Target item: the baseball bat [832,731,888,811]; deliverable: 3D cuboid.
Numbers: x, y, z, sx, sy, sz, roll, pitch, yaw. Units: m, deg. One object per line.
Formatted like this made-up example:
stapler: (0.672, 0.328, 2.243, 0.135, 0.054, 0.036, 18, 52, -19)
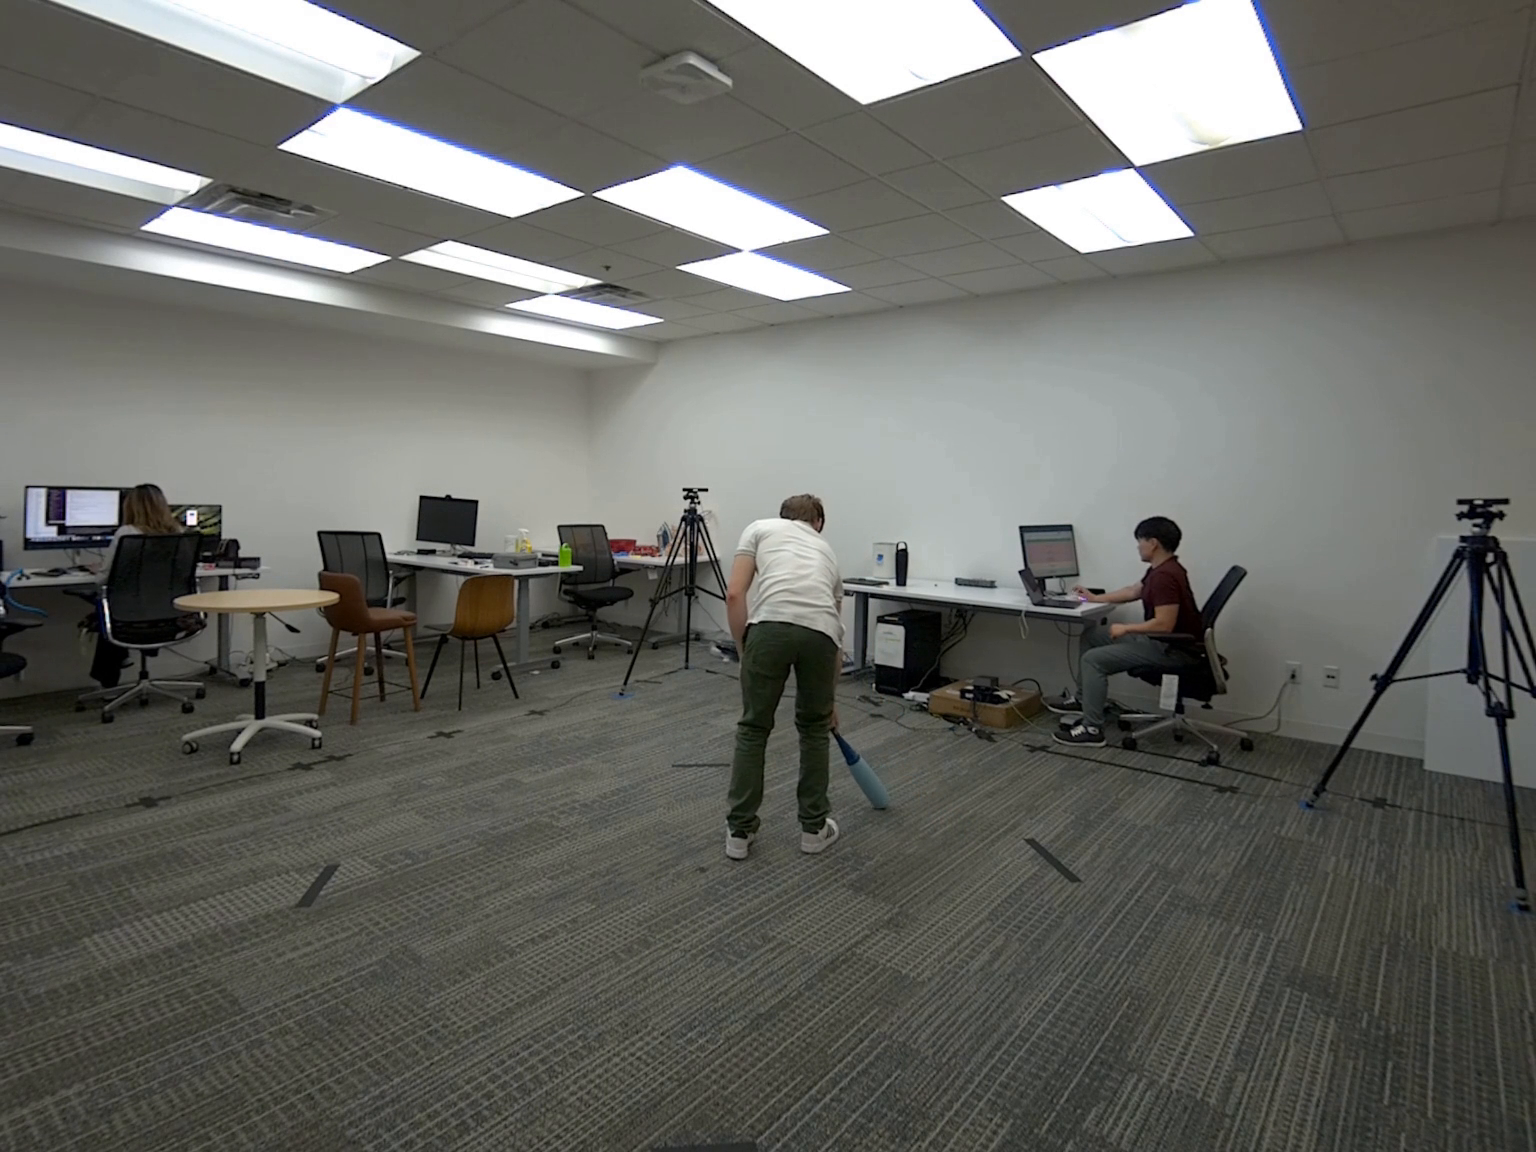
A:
baseball bat: (0.355, 0.791, 3.713, 0.089, 0.535, 0.090, -32, 11, 6)
